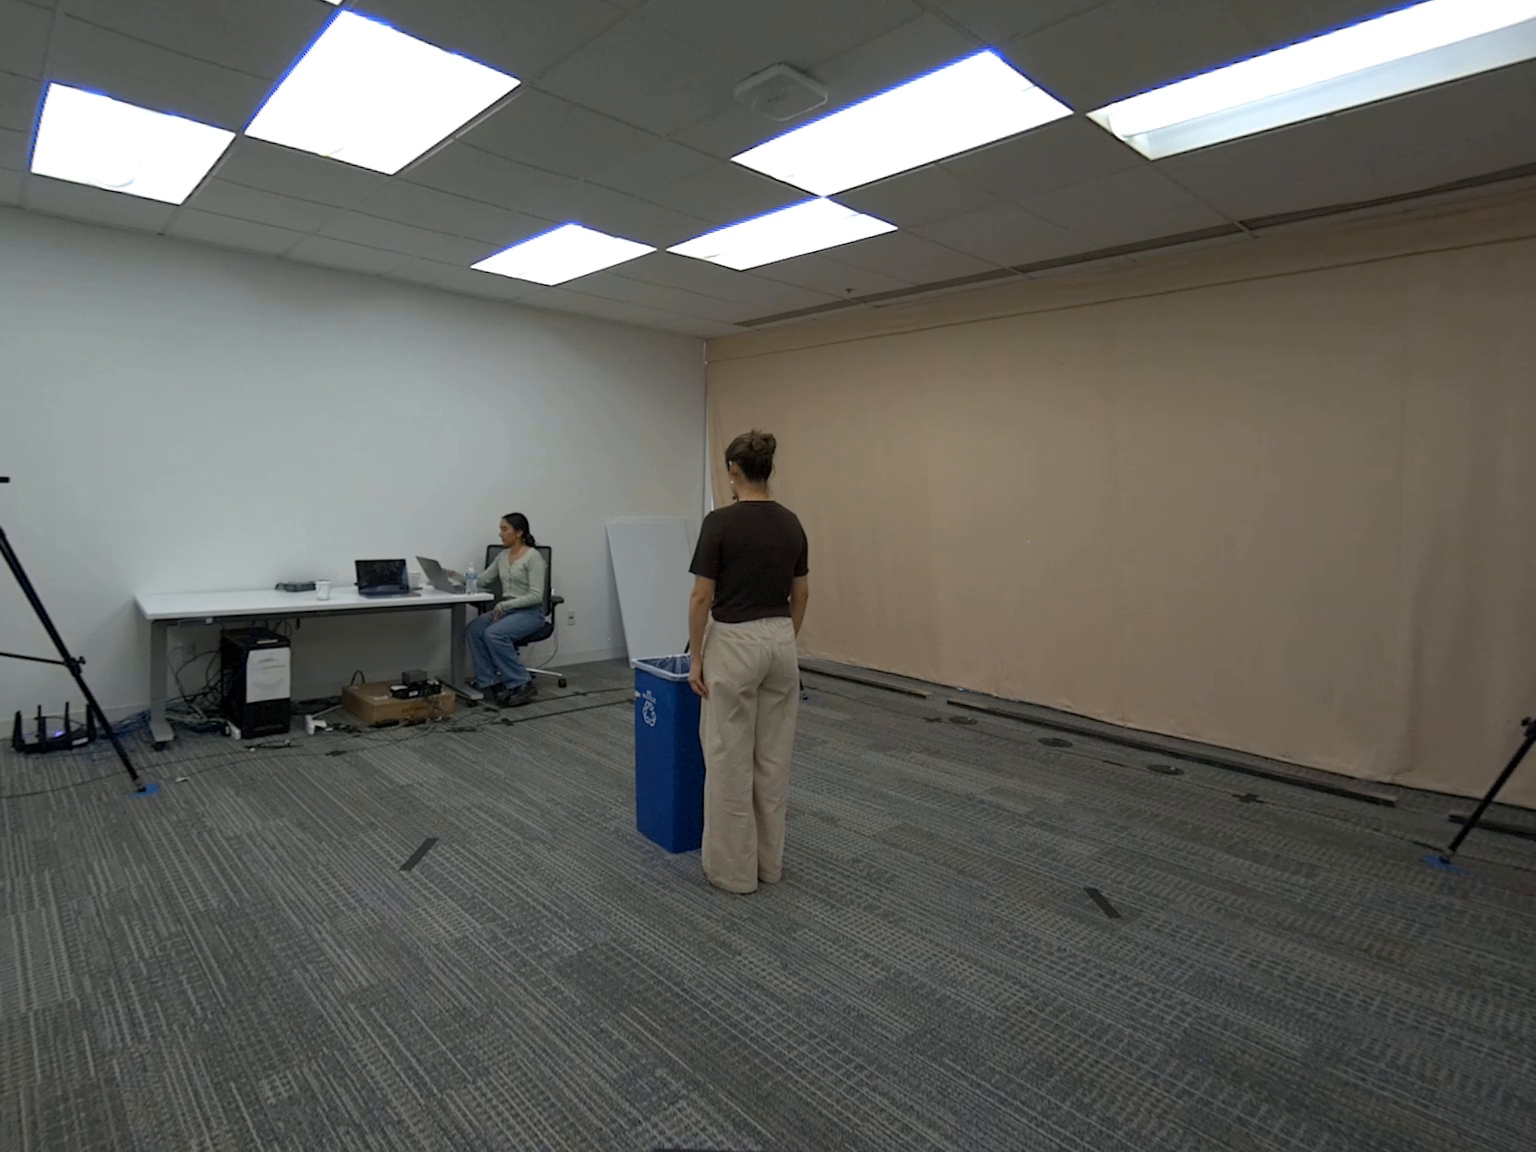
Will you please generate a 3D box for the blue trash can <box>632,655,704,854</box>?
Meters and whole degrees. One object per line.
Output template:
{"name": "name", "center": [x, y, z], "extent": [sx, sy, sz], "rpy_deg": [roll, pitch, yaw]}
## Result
{"name": "blue trash can", "center": [-0.337, 0.710, 3.455], "extent": [0.370, 0.712, 0.383], "rpy_deg": [-2, 4, -38]}
